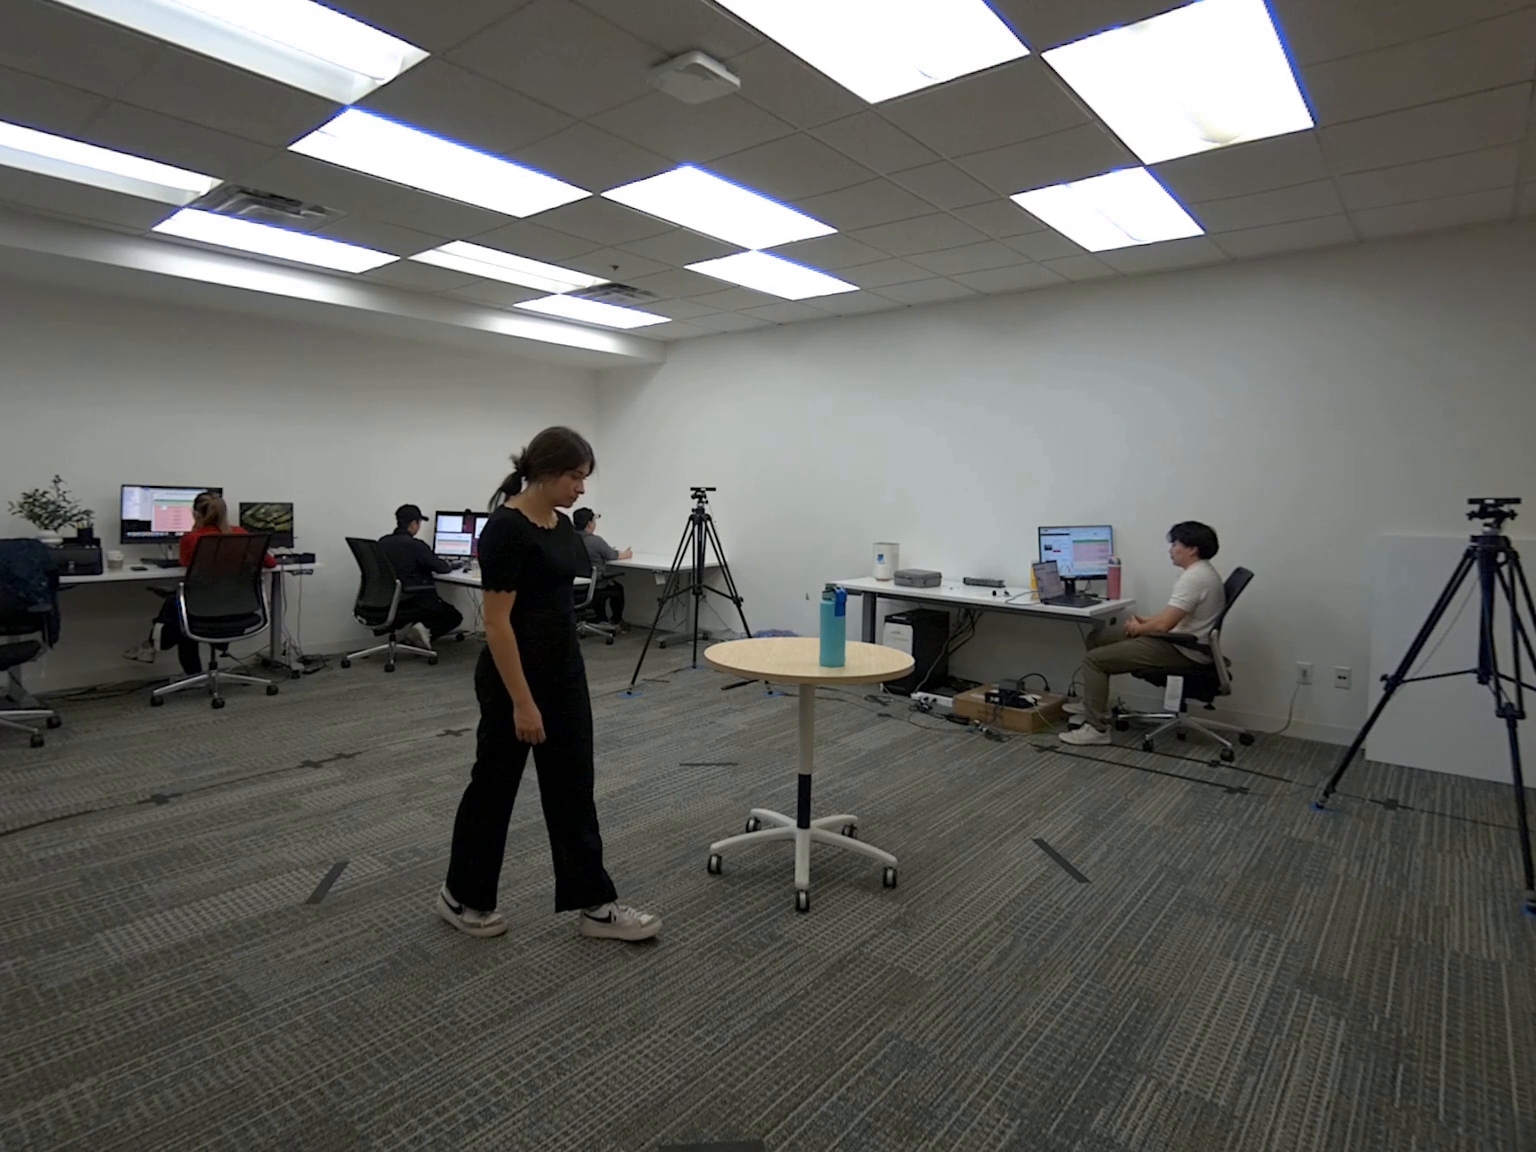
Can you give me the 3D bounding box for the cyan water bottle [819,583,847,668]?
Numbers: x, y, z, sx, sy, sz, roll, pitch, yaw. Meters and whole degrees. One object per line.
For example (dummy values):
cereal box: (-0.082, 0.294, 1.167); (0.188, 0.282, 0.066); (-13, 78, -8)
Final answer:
cyan water bottle: (0.219, 0.166, 2.937); (0.092, 0.282, 0.093); (0, 5, -2)
